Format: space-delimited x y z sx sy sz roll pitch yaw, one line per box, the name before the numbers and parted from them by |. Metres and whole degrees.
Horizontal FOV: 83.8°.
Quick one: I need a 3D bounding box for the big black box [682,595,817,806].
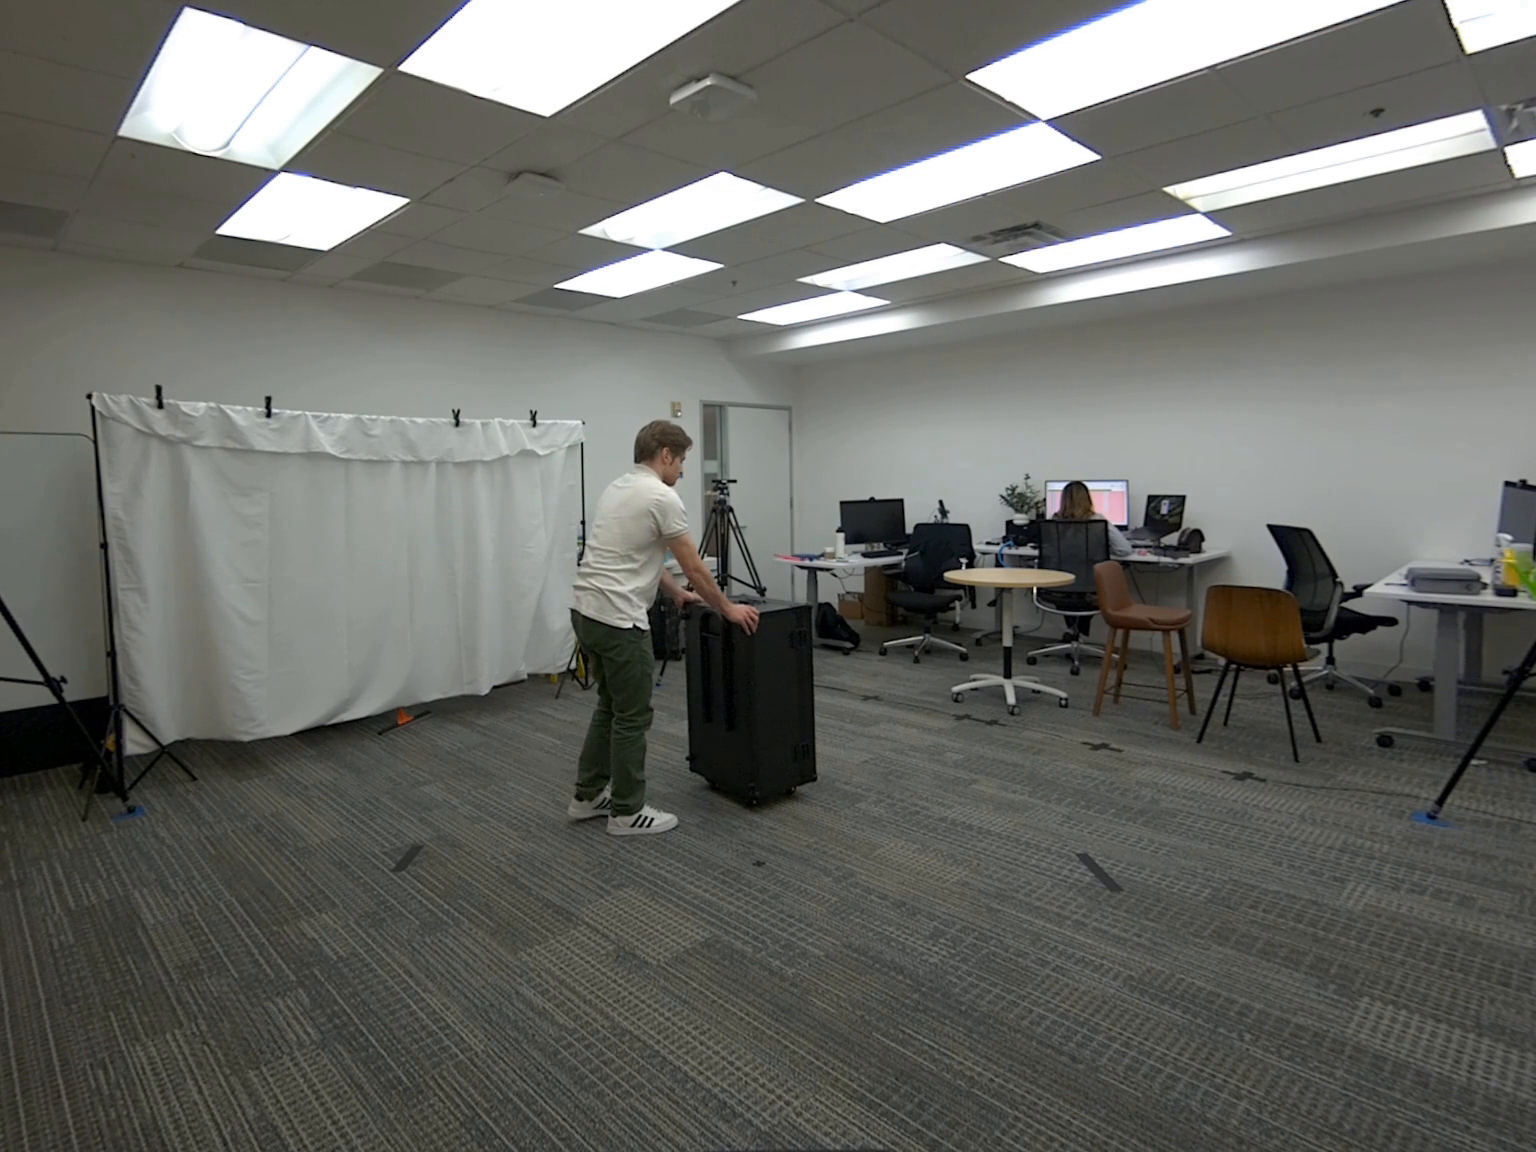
big black box | -0.087 0.549 3.810 0.386 0.858 0.537 -5 6 -38
